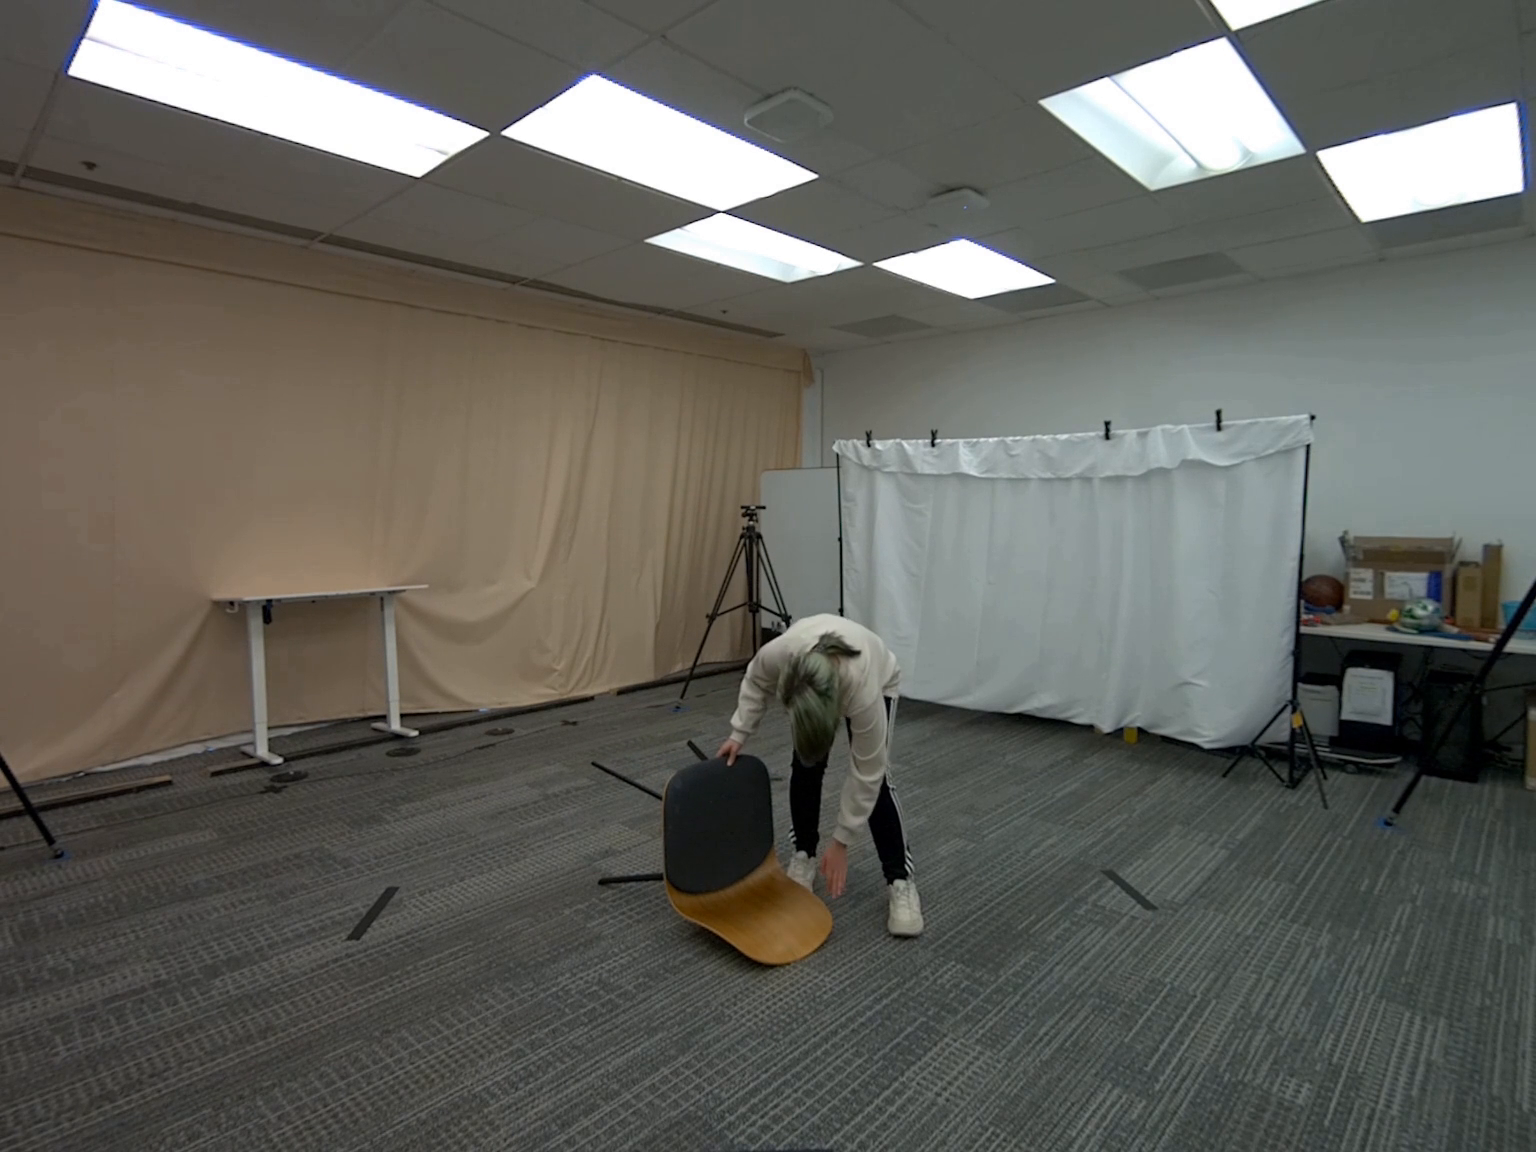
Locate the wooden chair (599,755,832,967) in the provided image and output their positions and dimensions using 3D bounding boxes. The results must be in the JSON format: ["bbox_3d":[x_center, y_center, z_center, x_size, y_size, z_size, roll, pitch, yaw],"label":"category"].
[{"bbox_3d":[-0.190,0.894,2.909,0.464,0.521,0.907,-4,7,-40],"label":"wooden chair"}]
